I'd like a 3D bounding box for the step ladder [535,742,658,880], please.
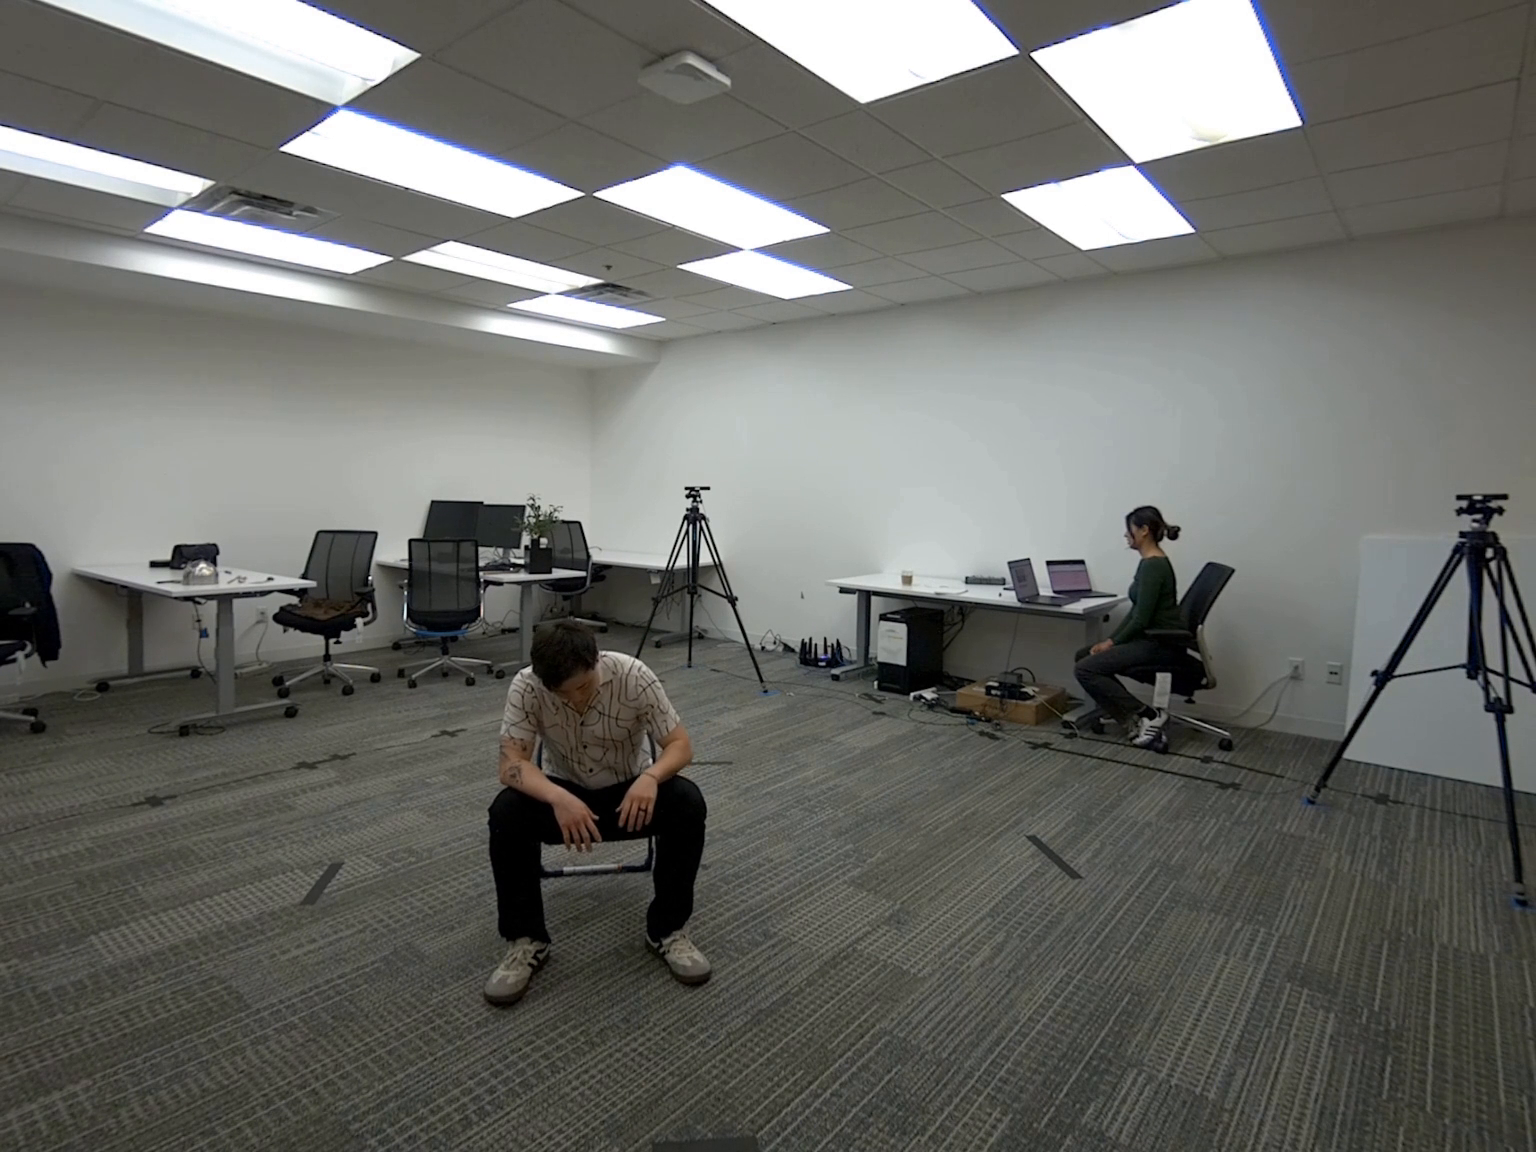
[{"bbox_3d":[-0.586,0.782,2.887,0.425,0.604,0.355,0,4,-13],"label":"step ladder"}]
